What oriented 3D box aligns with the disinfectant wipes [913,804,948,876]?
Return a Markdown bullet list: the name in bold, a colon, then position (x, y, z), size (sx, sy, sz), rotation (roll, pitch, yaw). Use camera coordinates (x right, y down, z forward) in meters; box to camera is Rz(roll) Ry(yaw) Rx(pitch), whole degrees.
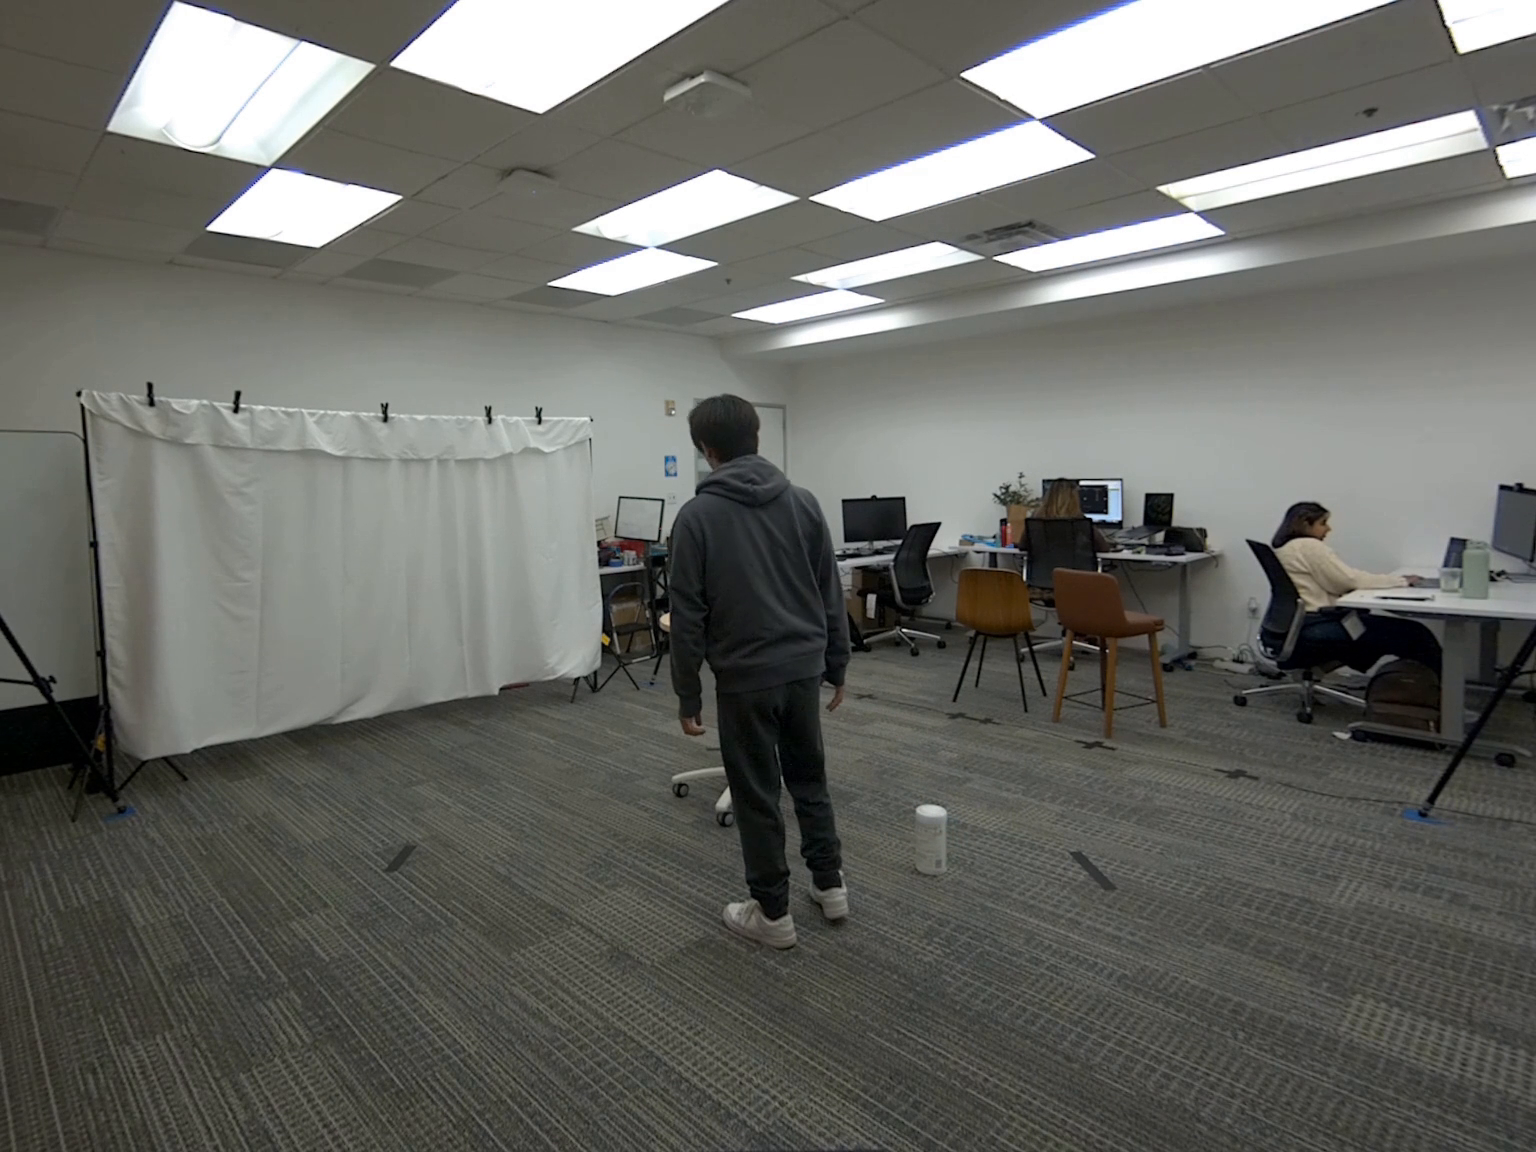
- **disinfectant wipes**: position (0.583, 0.933, 3.021), size (0.118, 0.216, 0.118), rotation (-1, 5, -2)
